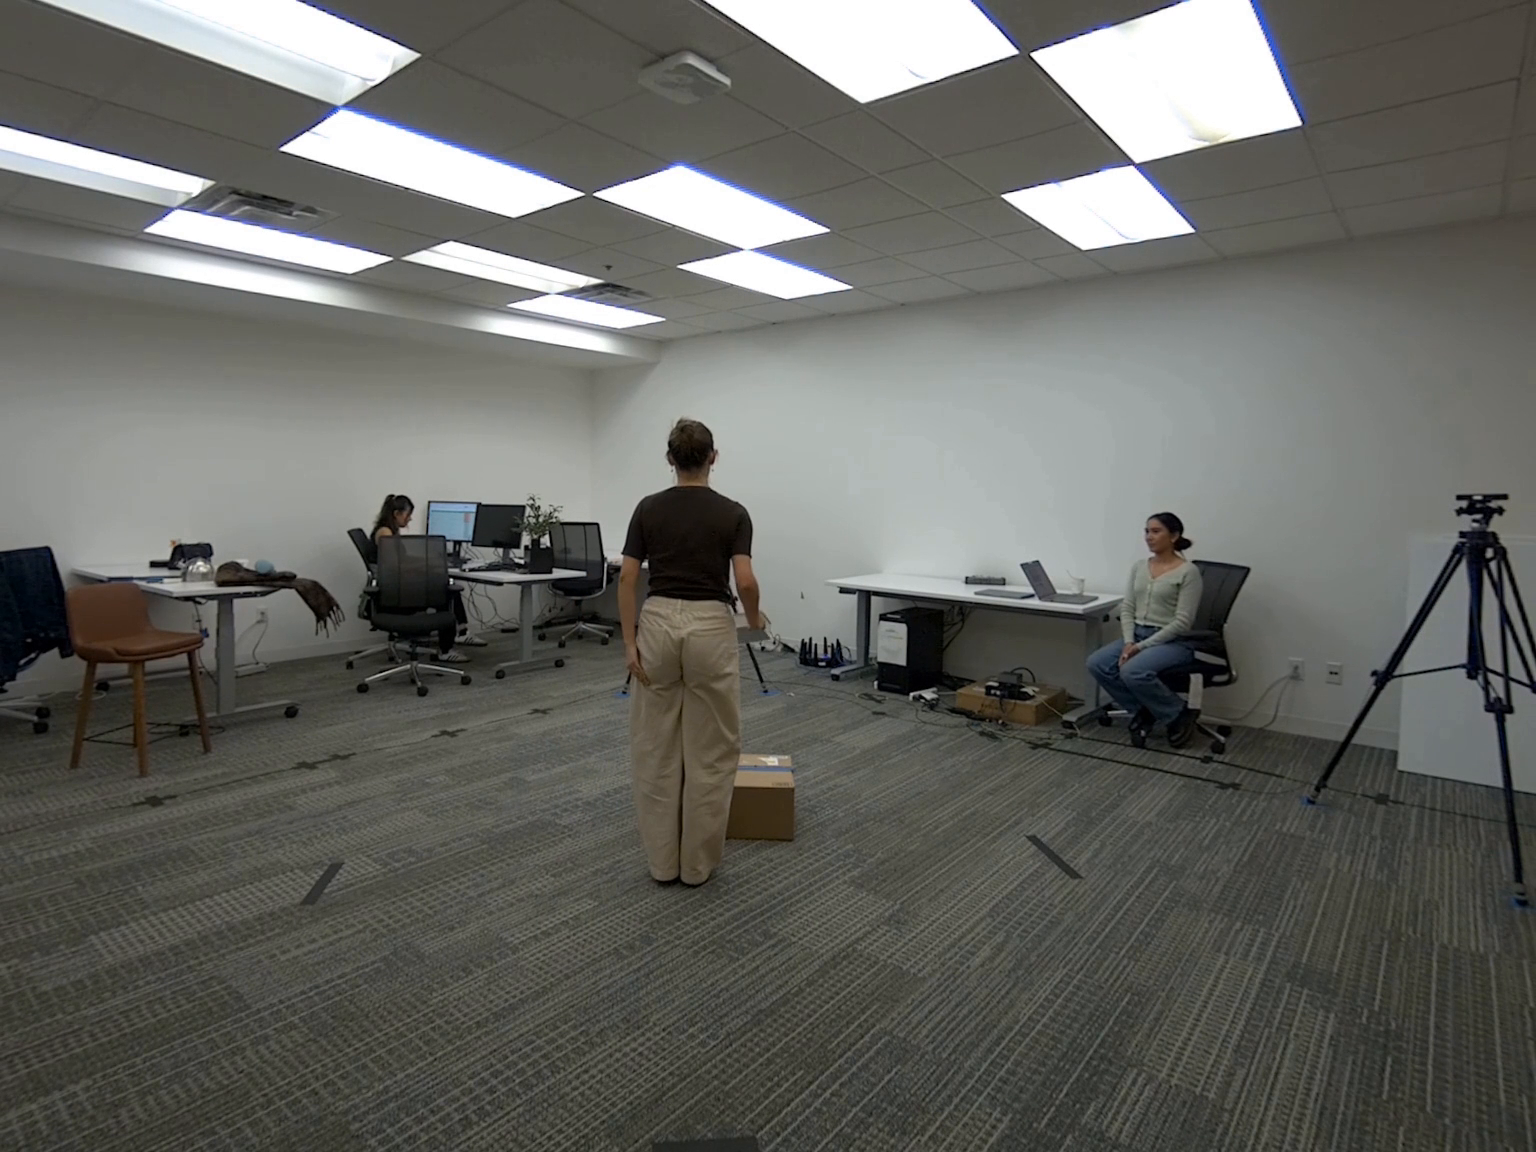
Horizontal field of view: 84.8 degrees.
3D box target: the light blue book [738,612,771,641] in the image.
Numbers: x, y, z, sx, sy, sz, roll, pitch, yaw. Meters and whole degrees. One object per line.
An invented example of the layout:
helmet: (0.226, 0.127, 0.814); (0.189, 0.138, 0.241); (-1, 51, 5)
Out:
light blue book: (-0.110, 0.194, 3.316); (0.193, 0.060, 0.254); (-9, -17, 9)
